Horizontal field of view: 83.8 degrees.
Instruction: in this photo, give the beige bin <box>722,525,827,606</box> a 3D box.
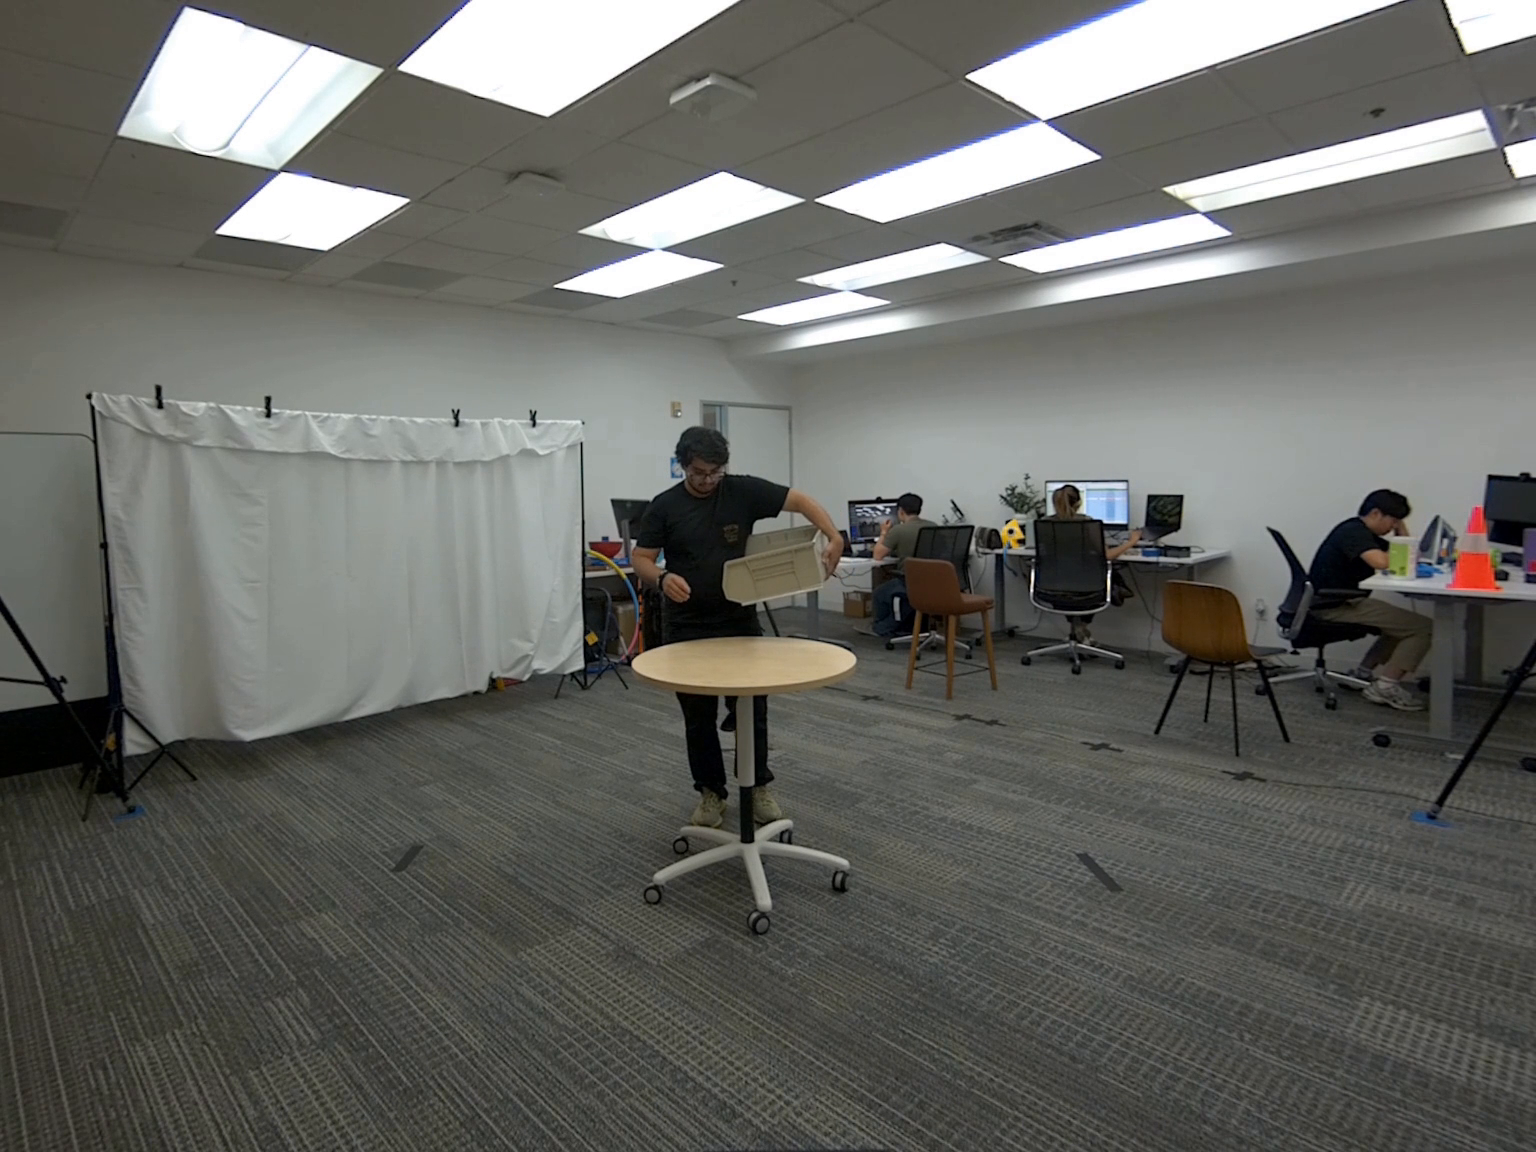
[{"bbox_3d":[0.045,-0.050,3.325,0.380,0.187,0.423,-9,11,9],"label":"beige bin"}]
